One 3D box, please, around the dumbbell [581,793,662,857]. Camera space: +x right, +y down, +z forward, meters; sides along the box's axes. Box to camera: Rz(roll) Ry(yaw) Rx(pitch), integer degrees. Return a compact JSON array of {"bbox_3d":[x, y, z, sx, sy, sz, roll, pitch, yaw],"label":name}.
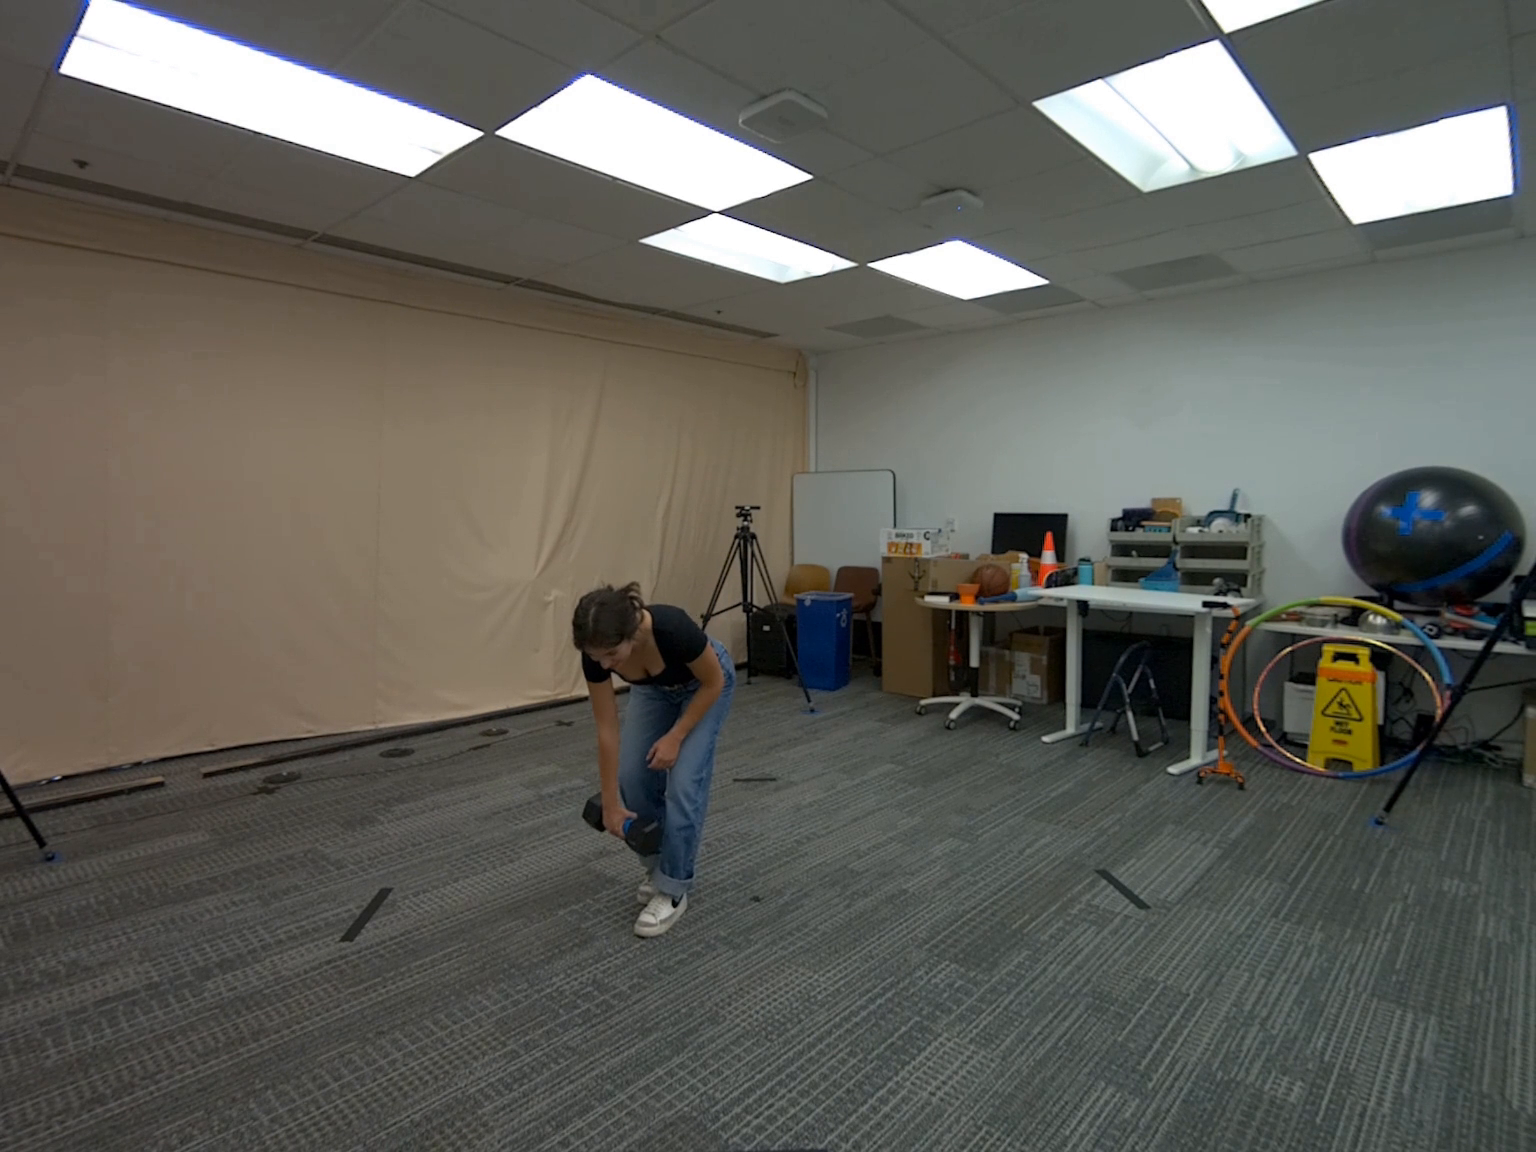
[{"bbox_3d":[-0.478,0.820,2.801,0.304,0.119,0.108,12,52,37],"label":"dumbbell"}]
